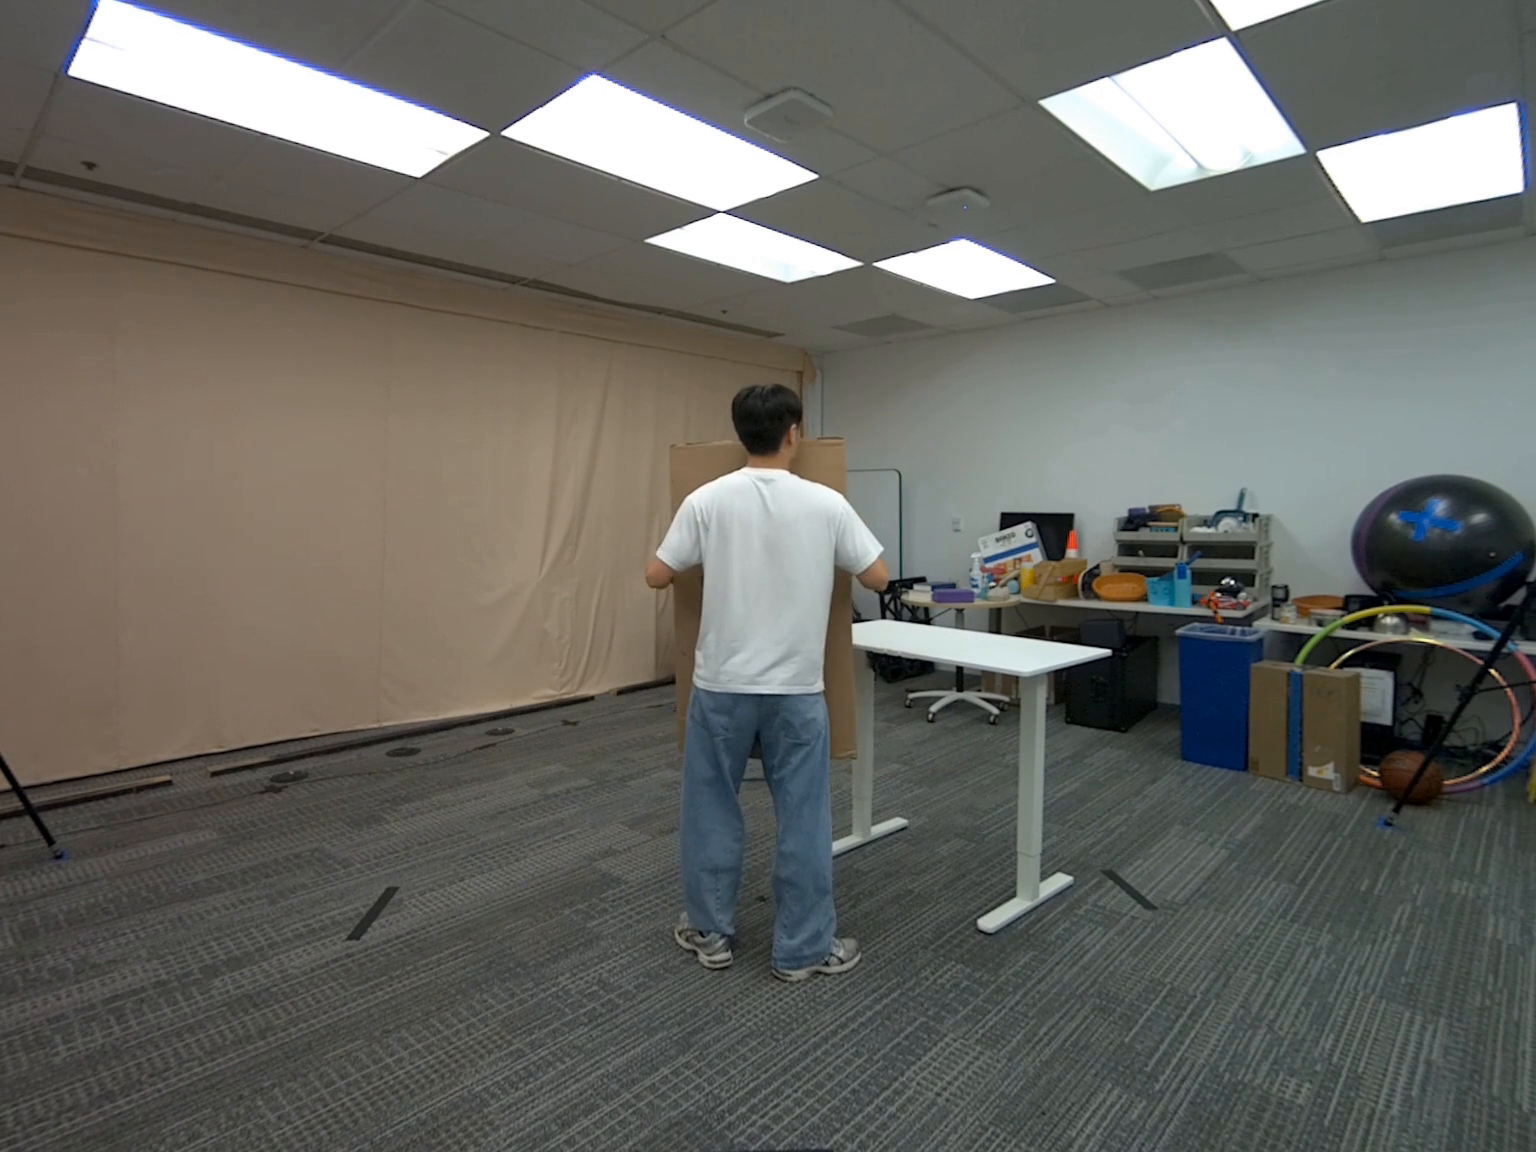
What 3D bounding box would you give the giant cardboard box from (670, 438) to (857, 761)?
[{"bbox_3d":[-0.006,0.074,2.900,0.582,1.027,0.422,-2,-2,6],"label":"giant cardboard box"}]
